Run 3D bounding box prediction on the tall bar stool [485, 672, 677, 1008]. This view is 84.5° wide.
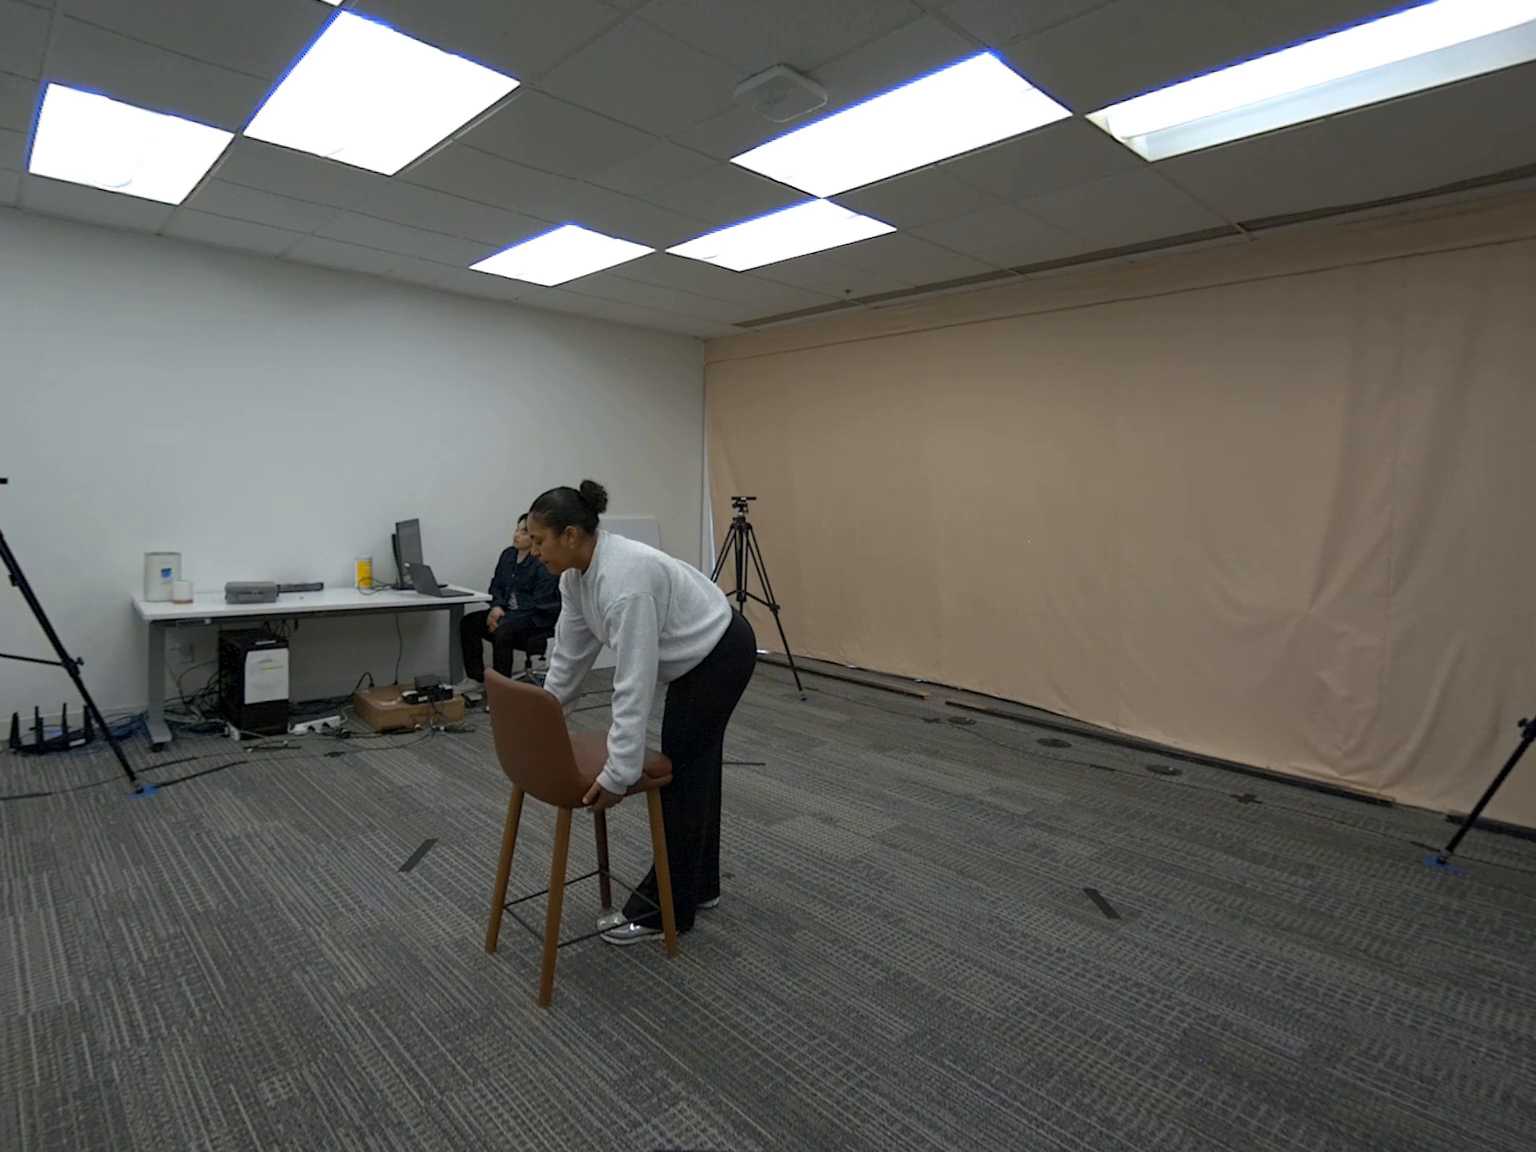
[{"bbox_3d":[-0.583,0.713,2.527,0.458,0.887,0.468,-6,6,-41],"label":"tall bar stool"}]
